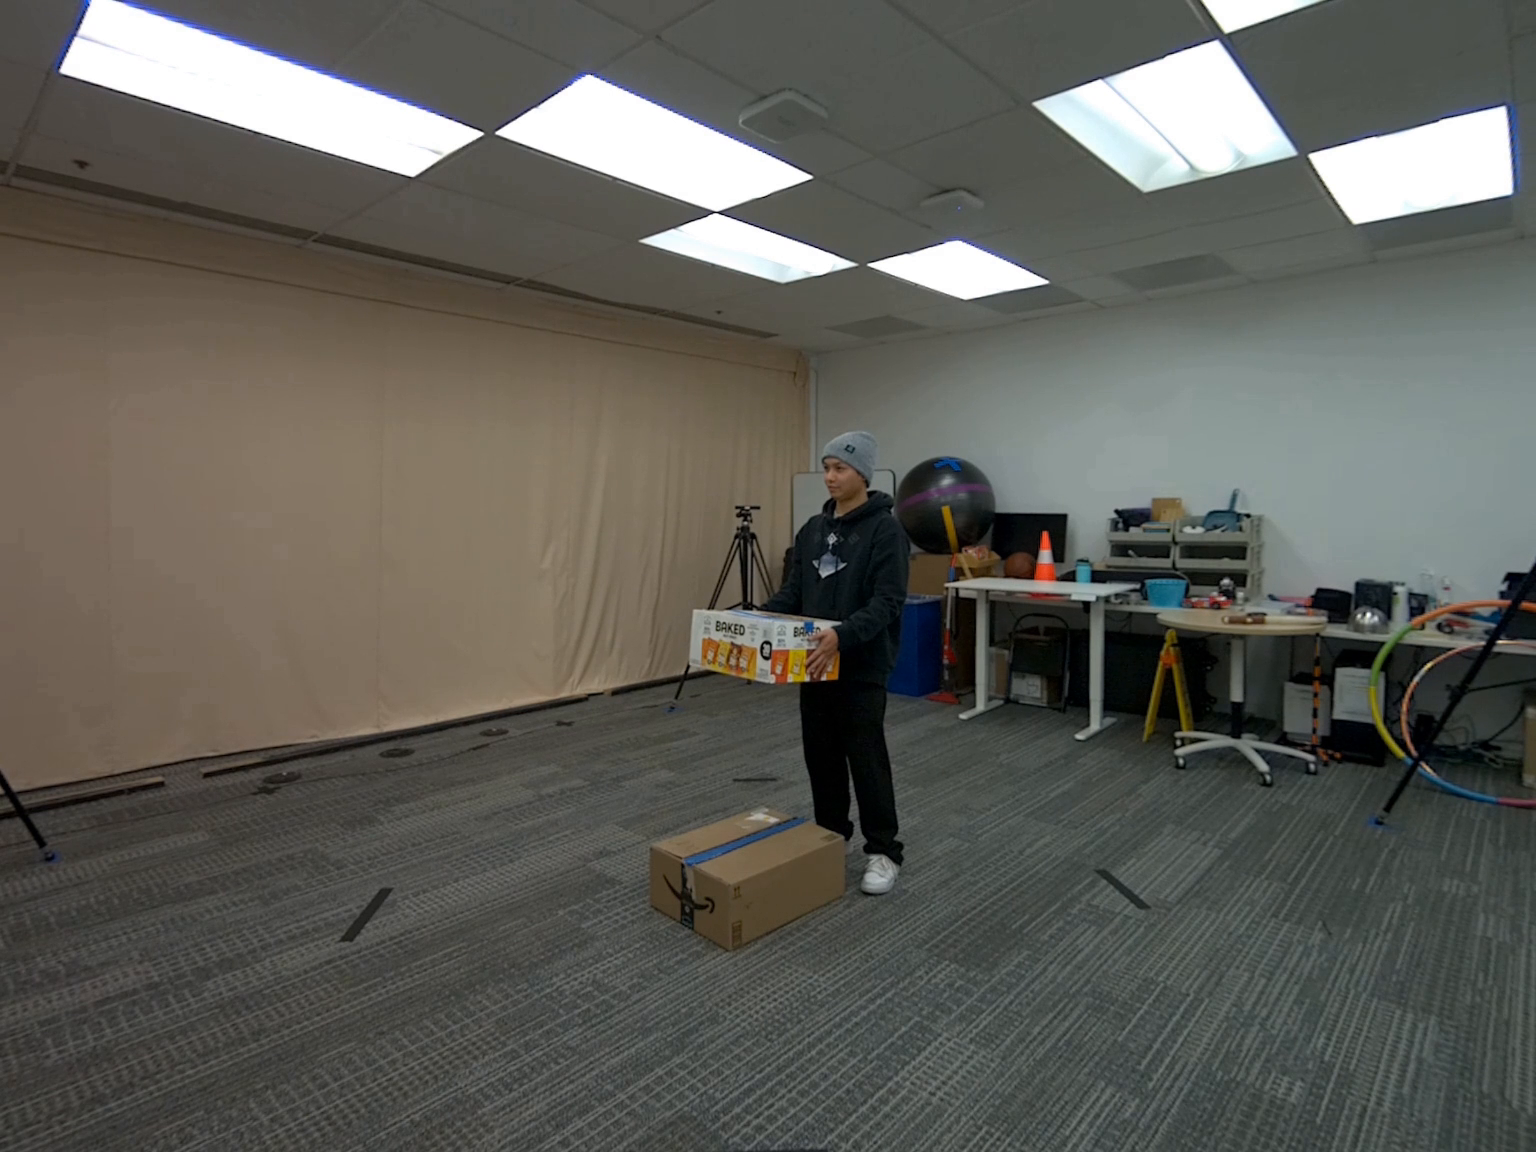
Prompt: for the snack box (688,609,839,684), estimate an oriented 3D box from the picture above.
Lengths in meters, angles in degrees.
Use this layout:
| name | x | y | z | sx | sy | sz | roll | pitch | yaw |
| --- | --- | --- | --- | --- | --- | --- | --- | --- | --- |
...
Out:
| name | x | y | z | sx | sy | sz | roll | pitch | yaw |
| --- | --- | --- | --- | --- | --- | --- | --- | --- | --- |
| snack box | -0.010 | 0.242 | 2.965 | 0.329 | 0.206 | 0.419 | 5 | 0 | -43 |
